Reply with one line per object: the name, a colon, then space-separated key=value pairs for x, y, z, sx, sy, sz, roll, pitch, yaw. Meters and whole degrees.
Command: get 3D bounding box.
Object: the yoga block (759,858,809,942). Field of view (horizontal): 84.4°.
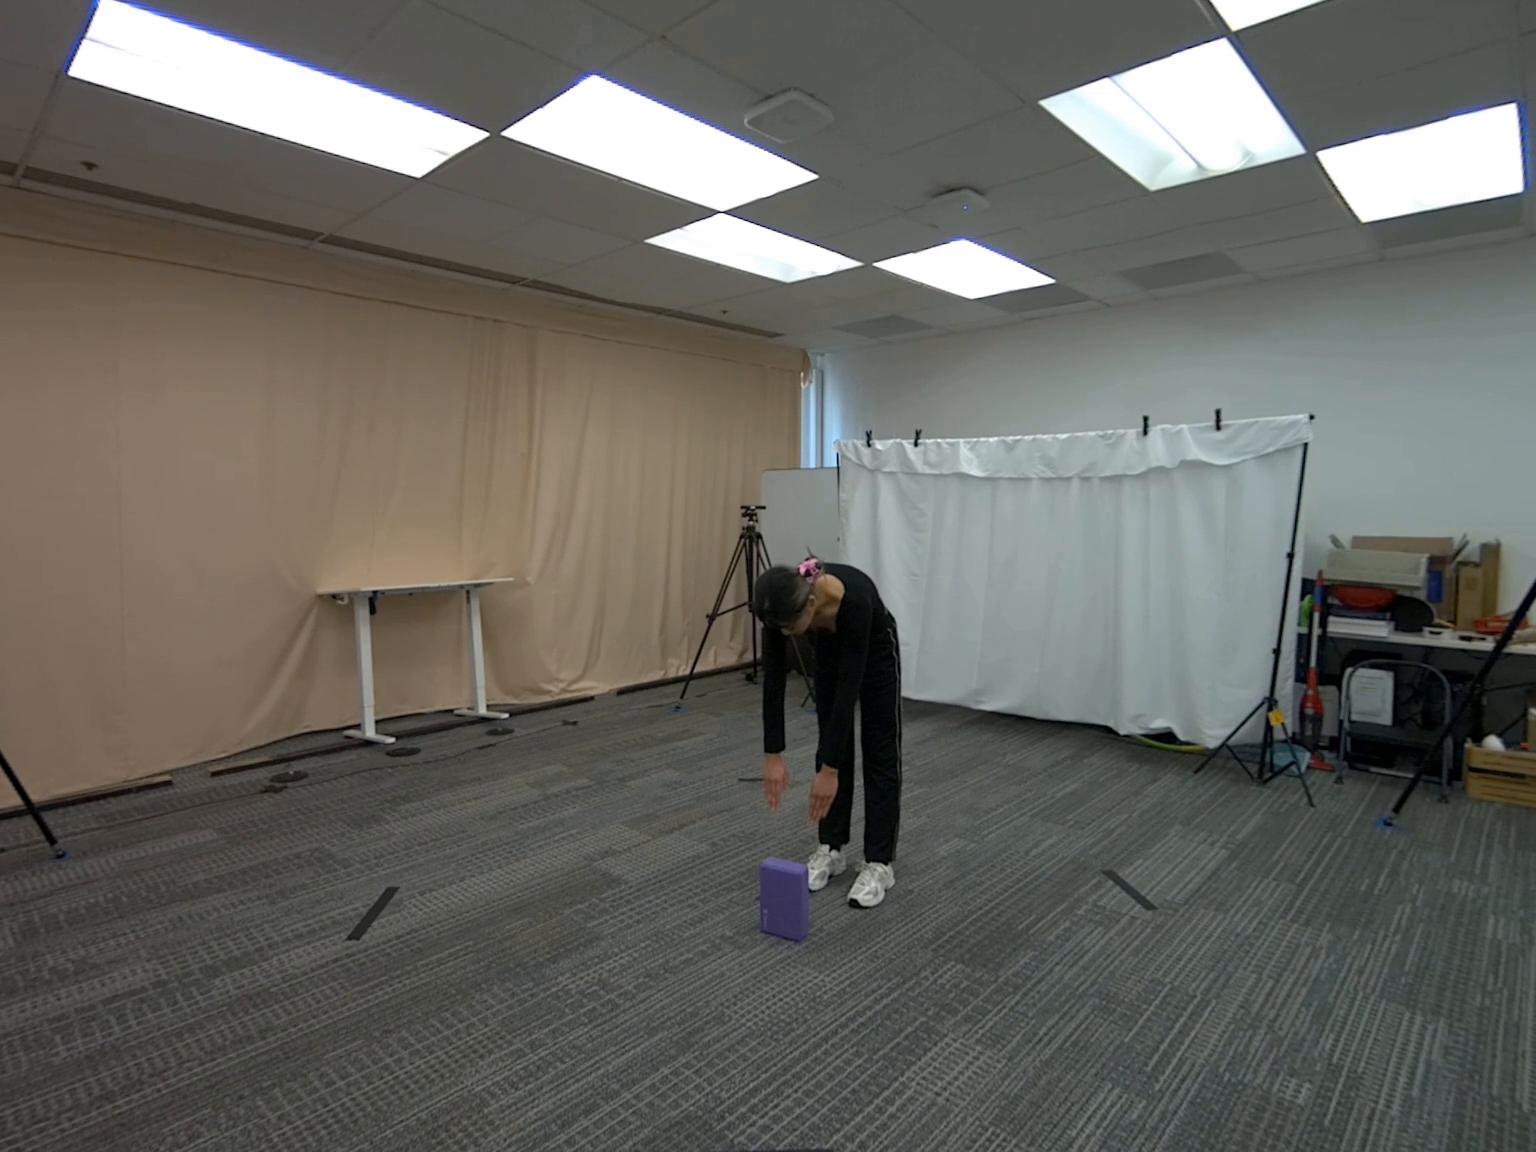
yoga block: x=0.057 y=1.049 z=2.737 sx=0.153 sy=0.229 sz=0.074 roll=2 pitch=4 yaw=28
